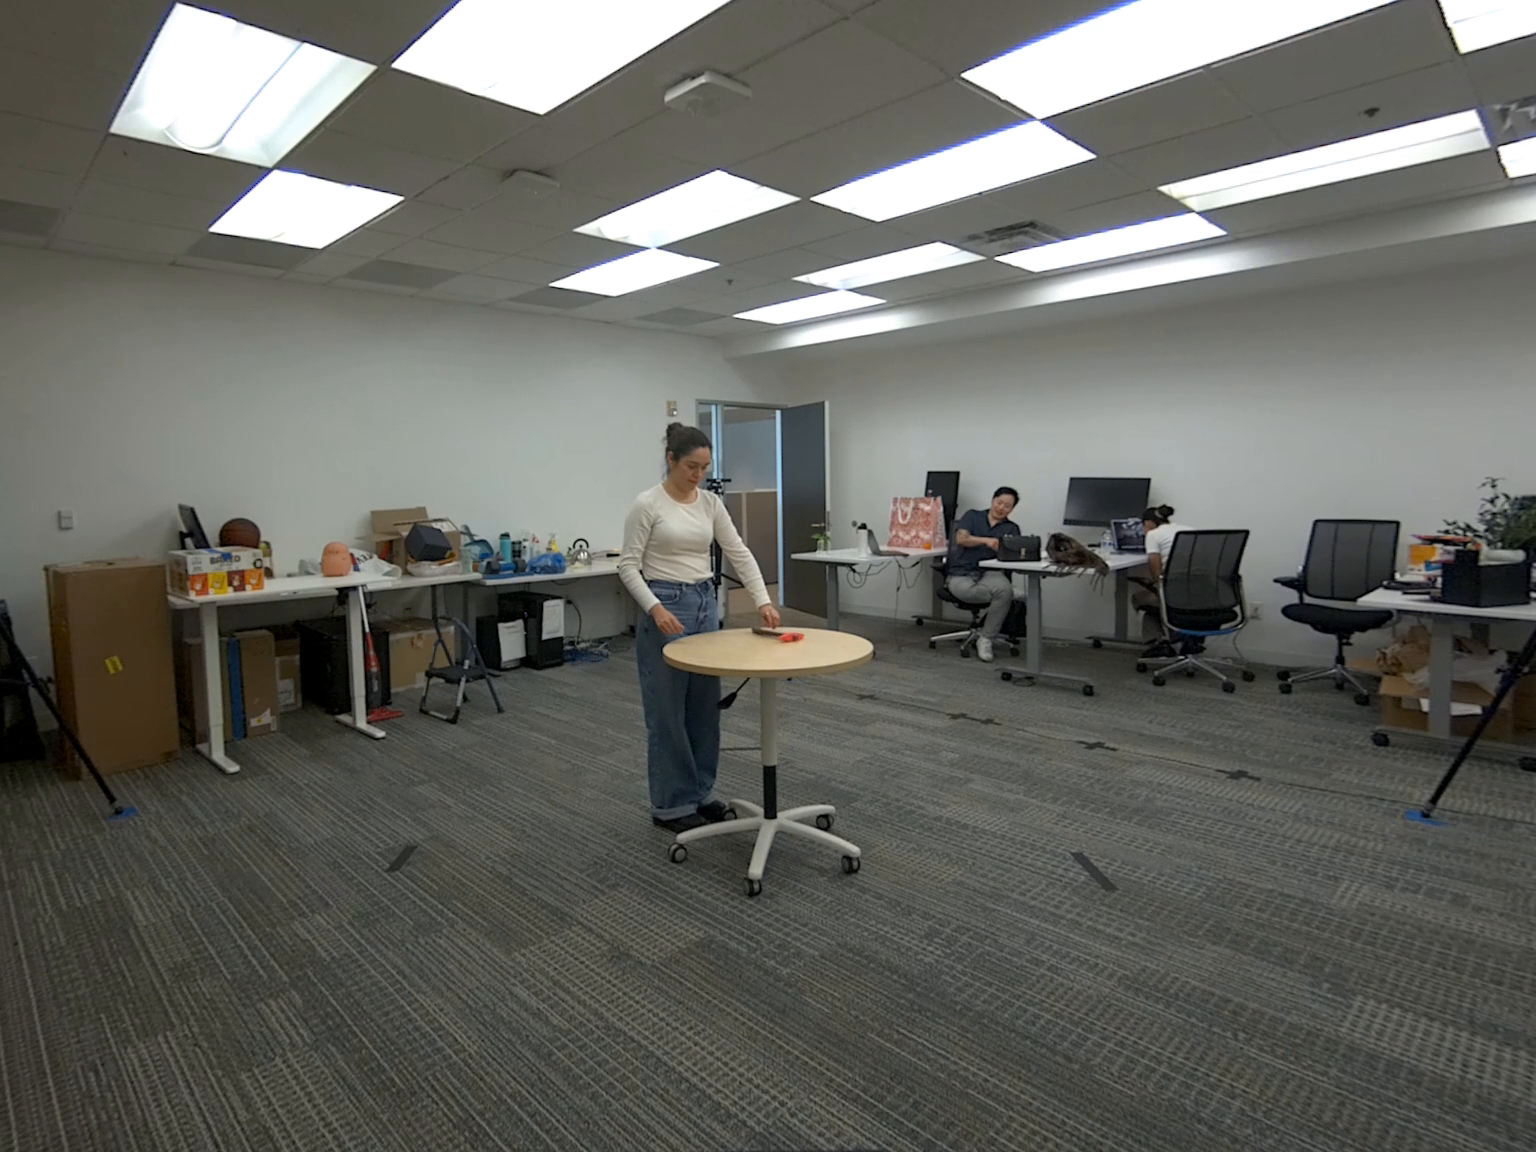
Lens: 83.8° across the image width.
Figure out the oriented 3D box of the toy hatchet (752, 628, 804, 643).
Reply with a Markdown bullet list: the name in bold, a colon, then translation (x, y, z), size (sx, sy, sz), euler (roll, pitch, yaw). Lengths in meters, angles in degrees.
- **toy hatchet**: translation (0.038, 0.220, 3.329), size (0.128, 0.029, 0.276), euler (-3, 6, -24)
